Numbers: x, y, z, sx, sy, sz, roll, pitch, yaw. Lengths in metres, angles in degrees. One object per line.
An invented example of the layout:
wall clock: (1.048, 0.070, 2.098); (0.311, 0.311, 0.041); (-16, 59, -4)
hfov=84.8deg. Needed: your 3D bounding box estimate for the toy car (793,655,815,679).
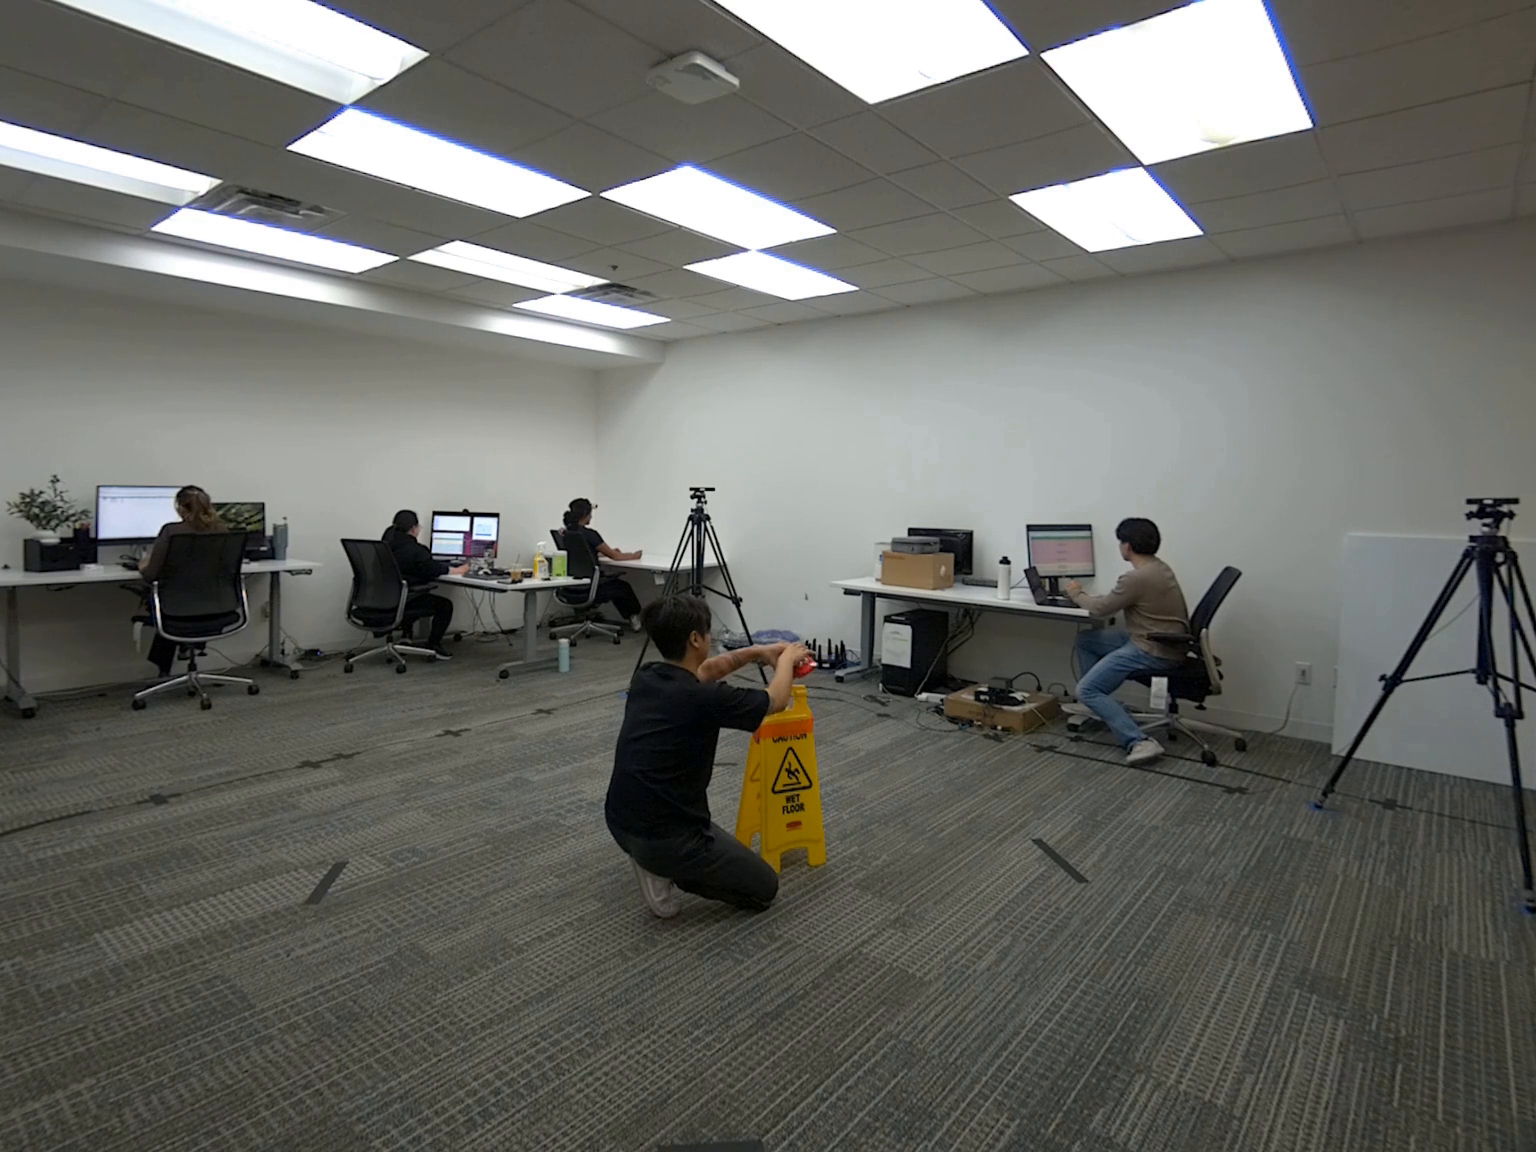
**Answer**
toy car: (0.067, 0.322, 3.180); (0.128, 0.082, 0.263); (-24, 18, -33)
